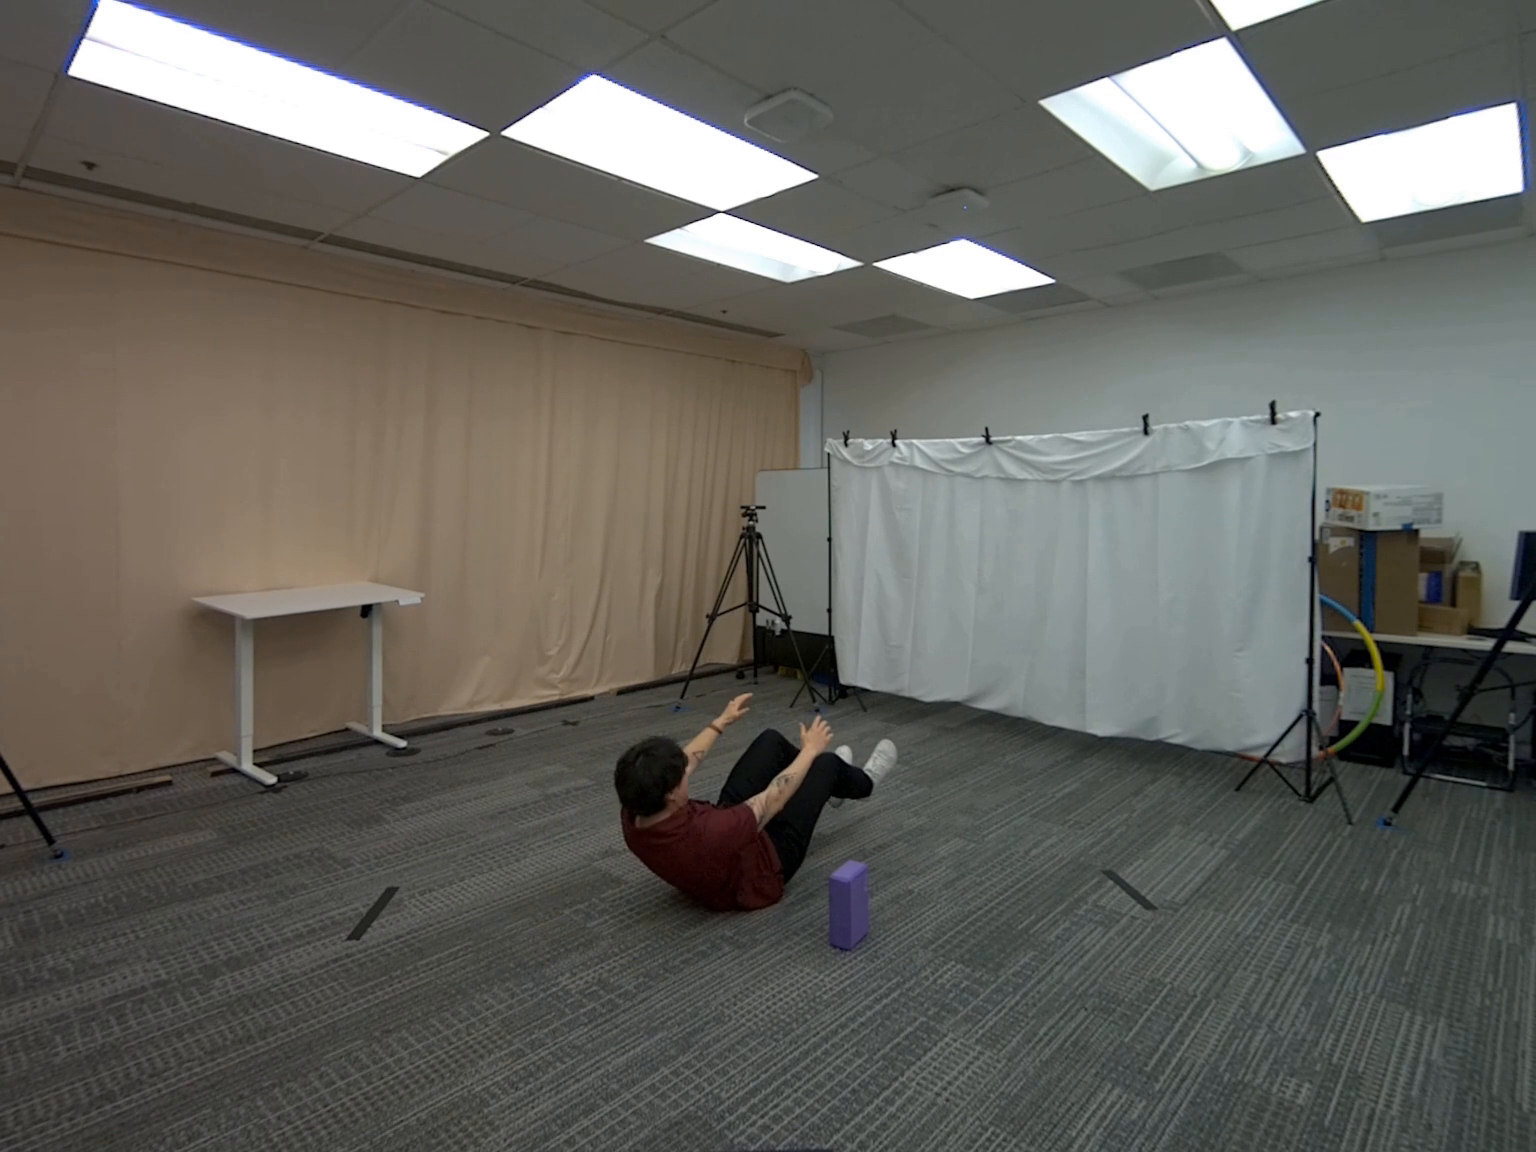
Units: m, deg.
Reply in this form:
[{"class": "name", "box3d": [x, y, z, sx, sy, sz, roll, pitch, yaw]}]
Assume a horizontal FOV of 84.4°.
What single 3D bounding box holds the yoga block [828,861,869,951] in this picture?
[{"class": "yoga block", "box3d": [0.259, 1.044, 2.693, 0.079, 0.229, 0.145, 4, 5, 32]}]
